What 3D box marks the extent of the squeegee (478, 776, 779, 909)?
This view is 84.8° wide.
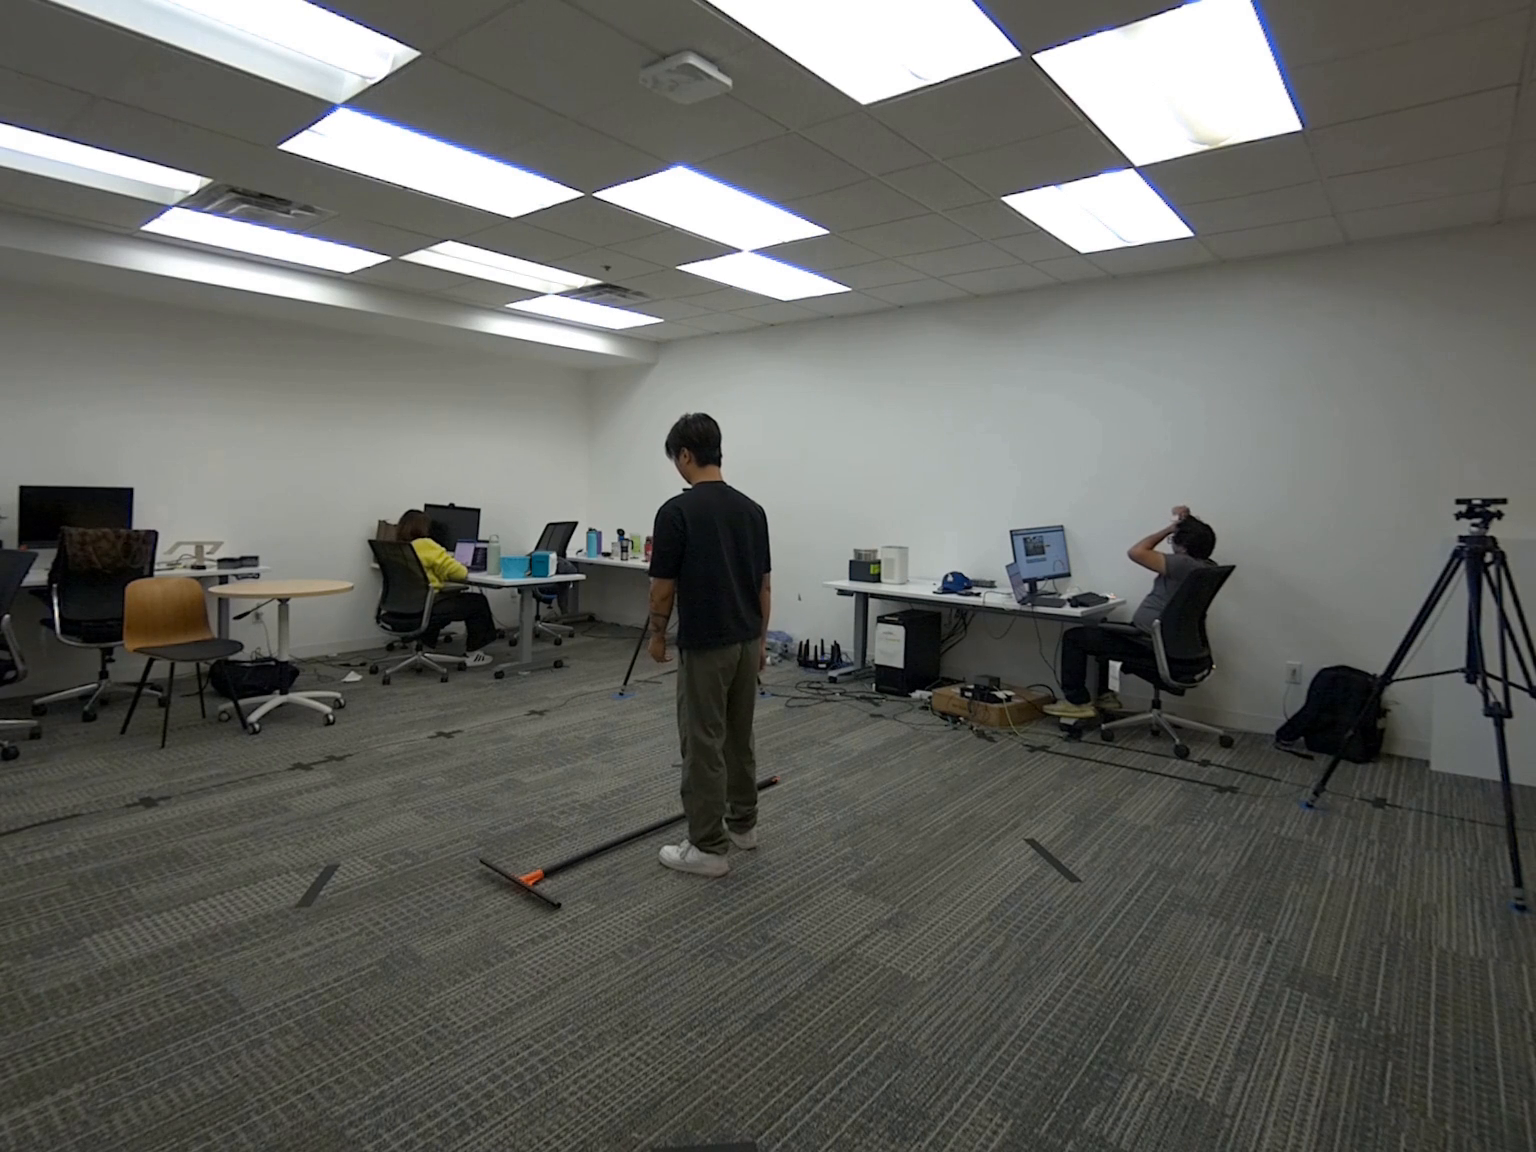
[{"bbox_3d":[-0.422,0.990,3.482,0.453,0.053,1.492,8,8,38],"label":"squeegee"}]
